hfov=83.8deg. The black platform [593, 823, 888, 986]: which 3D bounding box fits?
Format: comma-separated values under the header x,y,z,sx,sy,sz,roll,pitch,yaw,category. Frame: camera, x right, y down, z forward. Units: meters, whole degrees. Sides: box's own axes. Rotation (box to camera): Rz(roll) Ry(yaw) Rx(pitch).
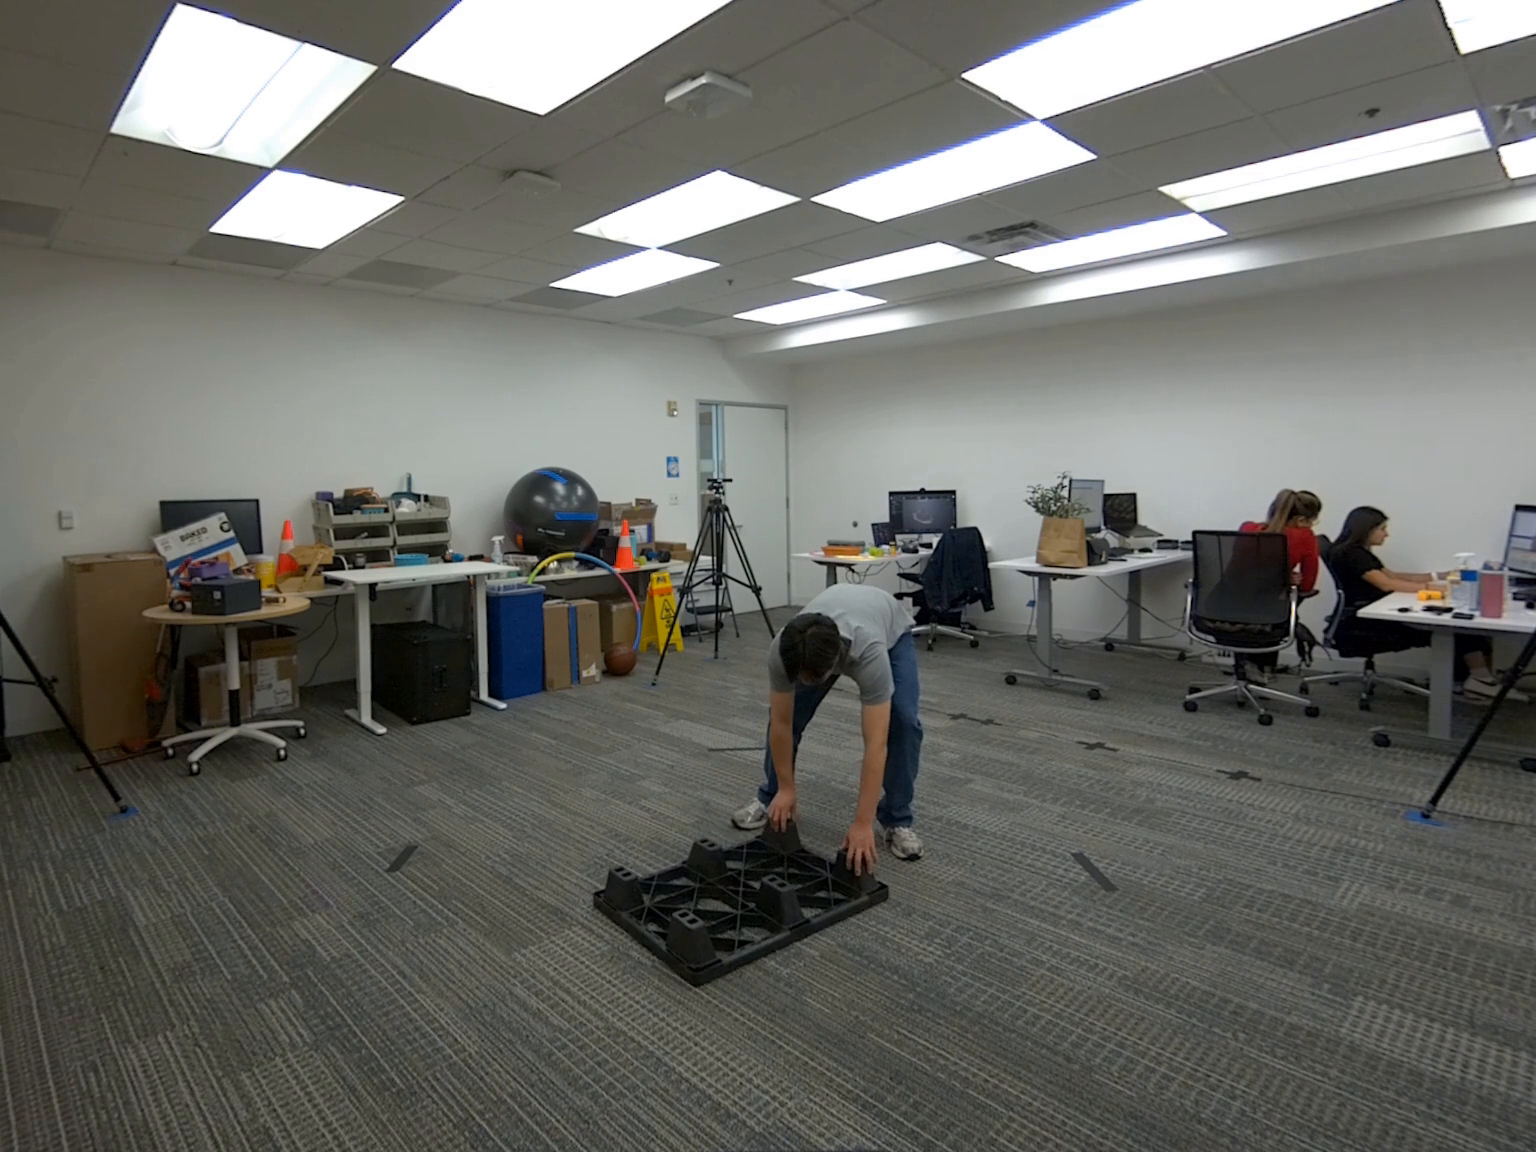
x,y,z,sx,sy,sz,roll,pitch,yaw,category
-0.086,1.014,2.817,0.785,0.142,0.624,-6,8,-39,black platform
